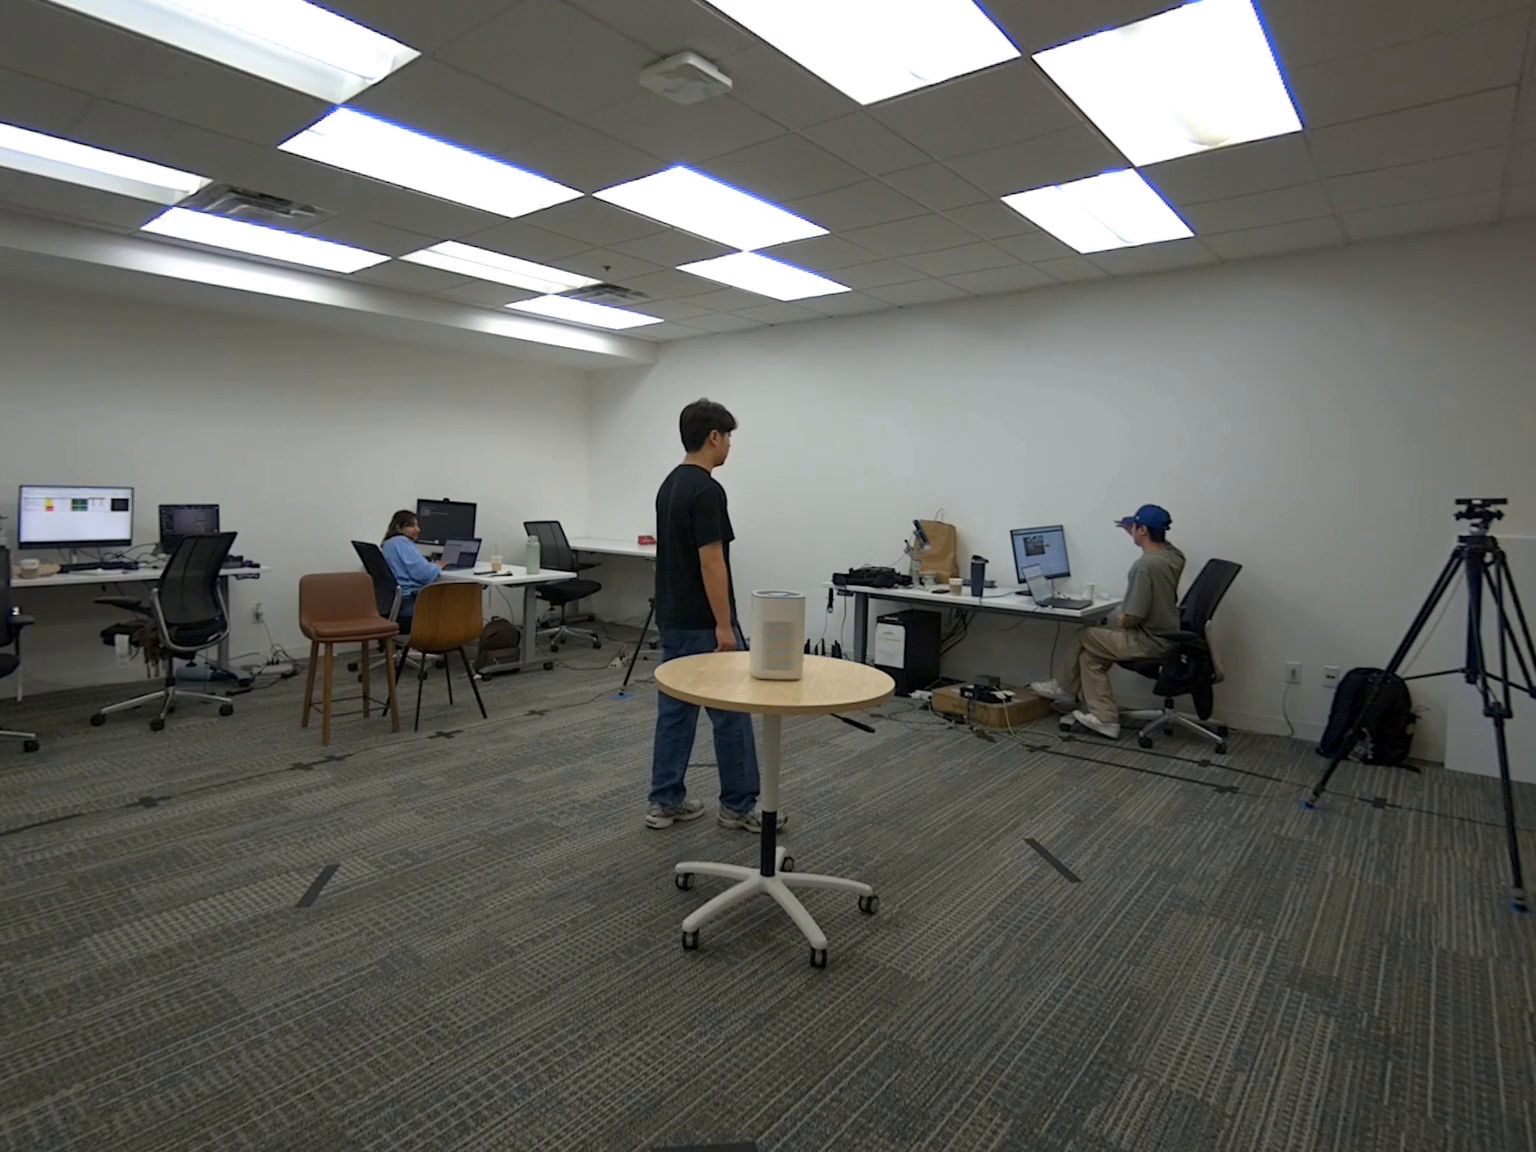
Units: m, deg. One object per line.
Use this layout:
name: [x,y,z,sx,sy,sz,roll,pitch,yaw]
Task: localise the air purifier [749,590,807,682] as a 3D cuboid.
air purifier: [0.027,0.186,2.715,0.172,0.265,0.171,1,3,1]
